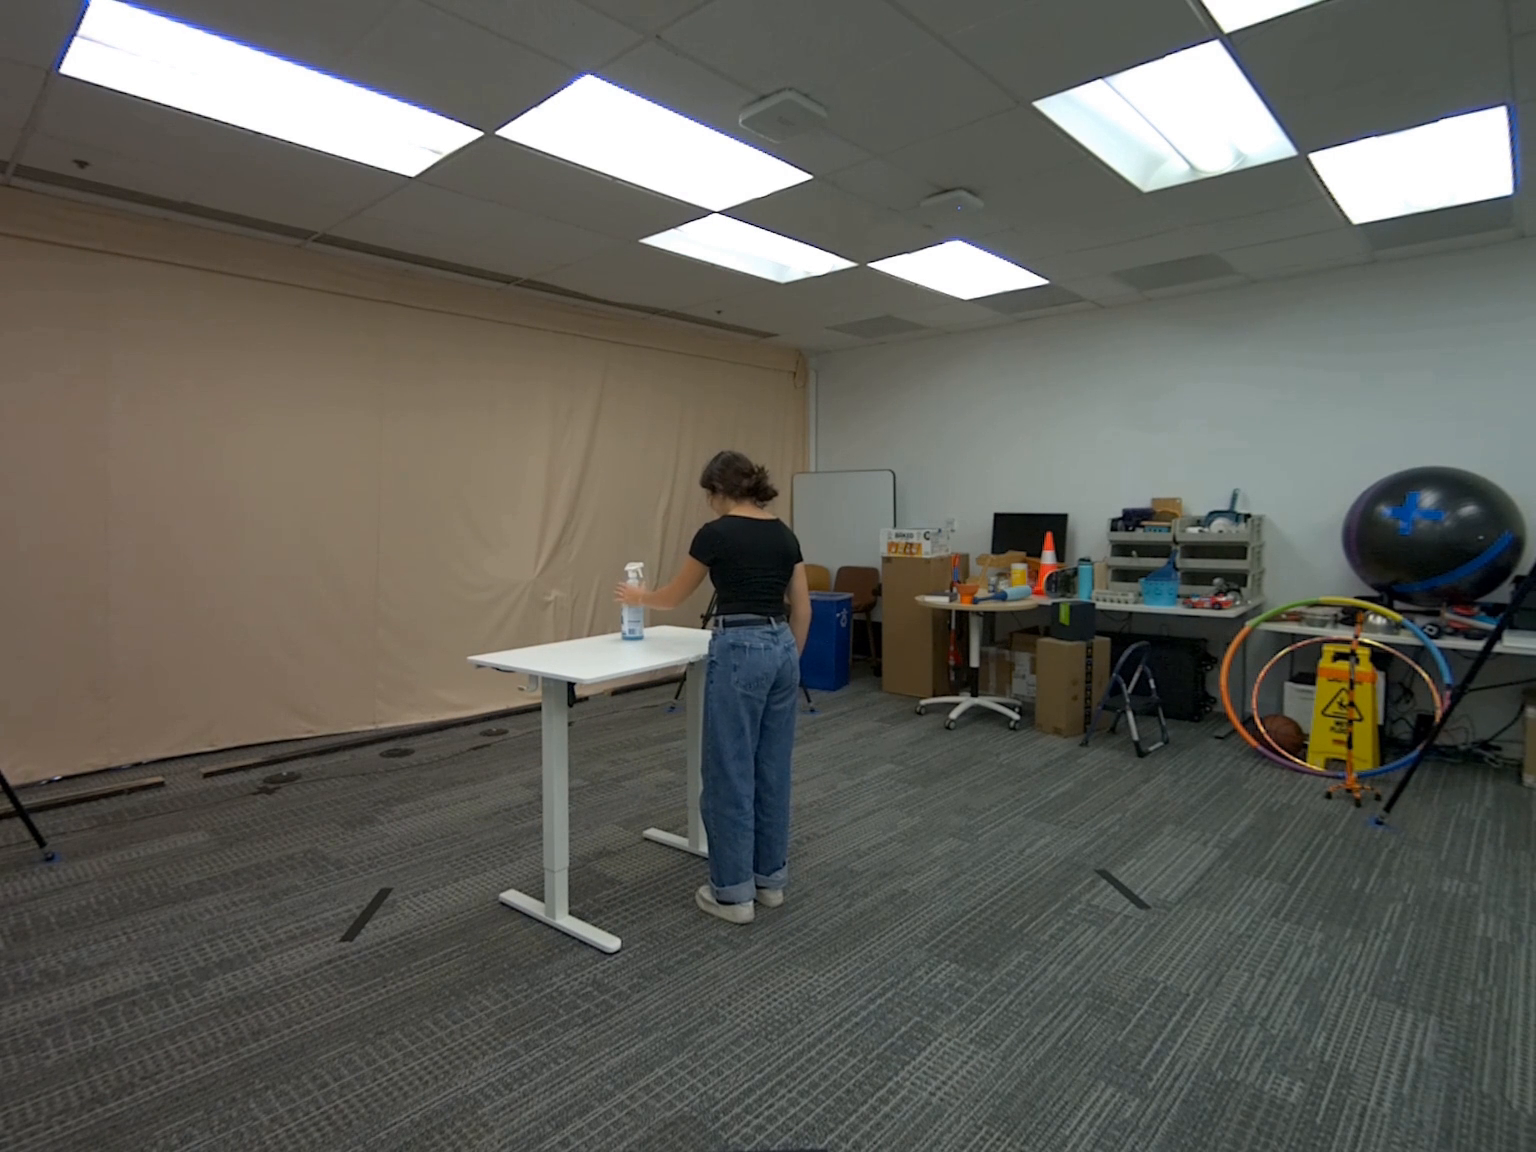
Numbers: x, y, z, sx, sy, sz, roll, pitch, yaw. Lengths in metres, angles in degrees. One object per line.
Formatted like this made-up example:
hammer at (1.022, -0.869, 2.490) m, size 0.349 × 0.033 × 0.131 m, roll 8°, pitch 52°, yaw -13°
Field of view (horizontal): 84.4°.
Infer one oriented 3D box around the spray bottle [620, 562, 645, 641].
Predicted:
spray bottle at (-0.525, 0.098, 3.252) m, size 0.085 × 0.296 × 0.092 m, roll -2°, pitch 4°, yaw -29°
